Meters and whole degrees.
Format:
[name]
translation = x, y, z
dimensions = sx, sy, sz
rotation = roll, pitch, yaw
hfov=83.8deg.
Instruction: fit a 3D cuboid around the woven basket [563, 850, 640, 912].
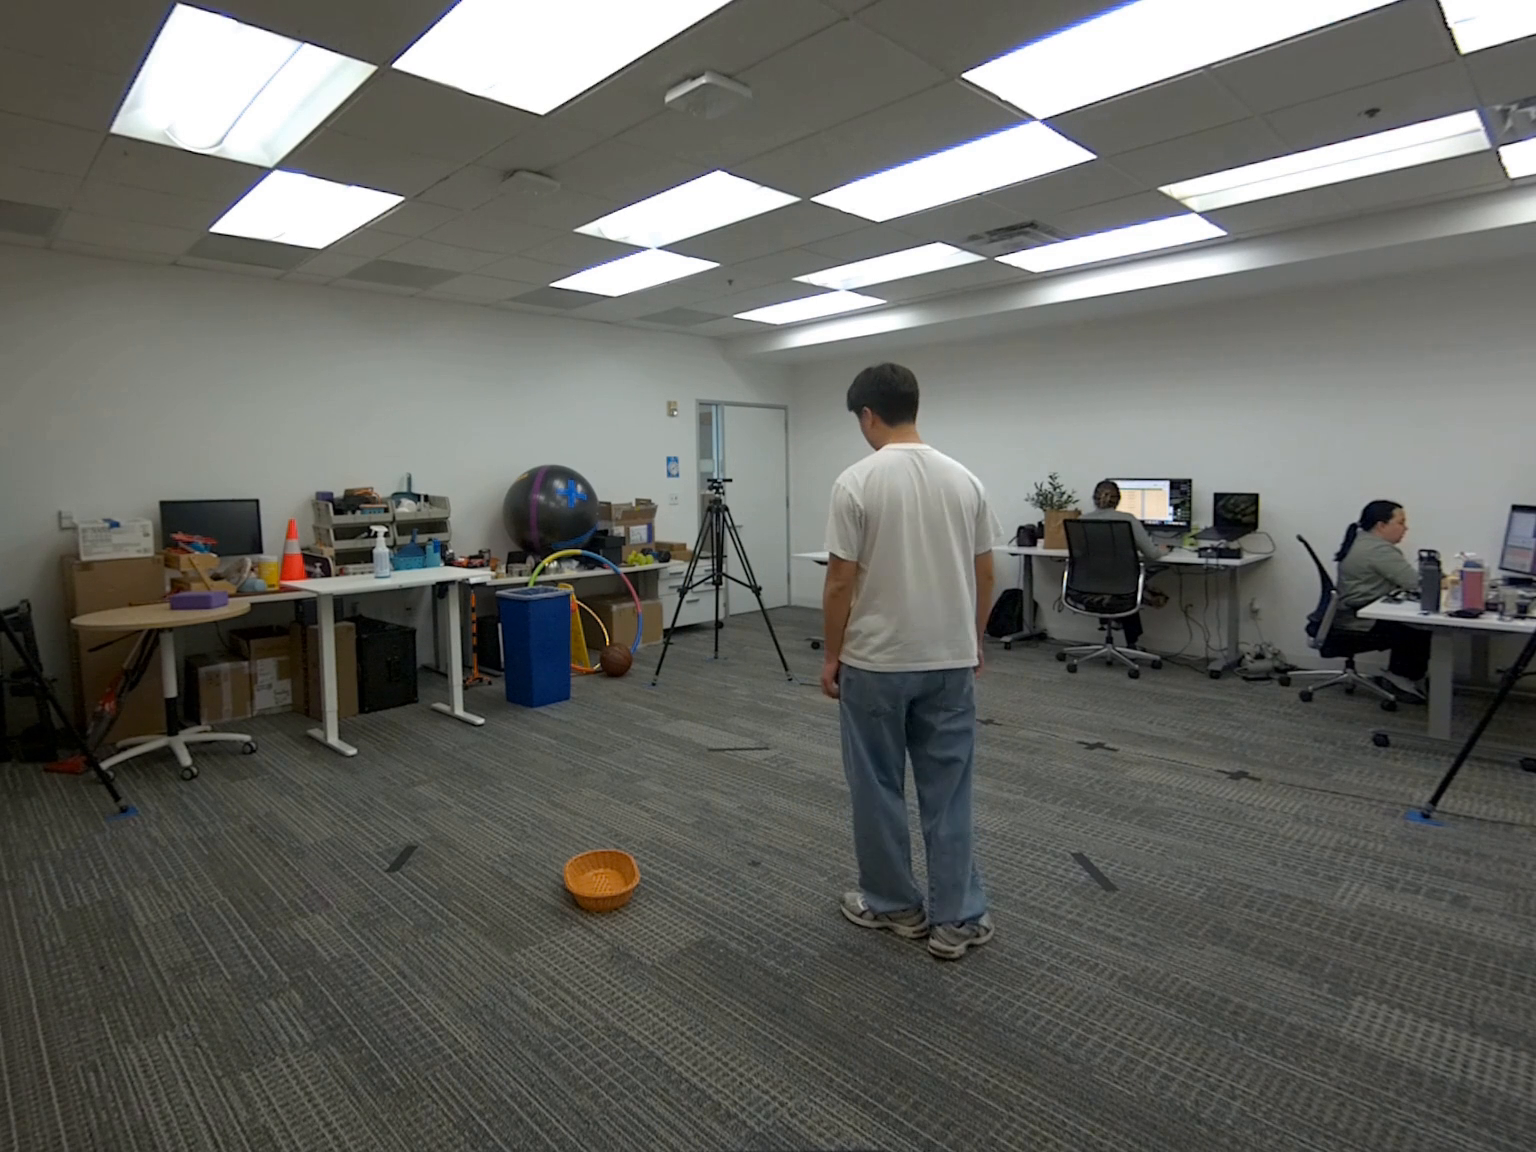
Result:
[woven basket]
translation = -0.566, 1.036, 2.914
dimensions = 0.249, 0.073, 0.357
rotation = -3, 7, -14
